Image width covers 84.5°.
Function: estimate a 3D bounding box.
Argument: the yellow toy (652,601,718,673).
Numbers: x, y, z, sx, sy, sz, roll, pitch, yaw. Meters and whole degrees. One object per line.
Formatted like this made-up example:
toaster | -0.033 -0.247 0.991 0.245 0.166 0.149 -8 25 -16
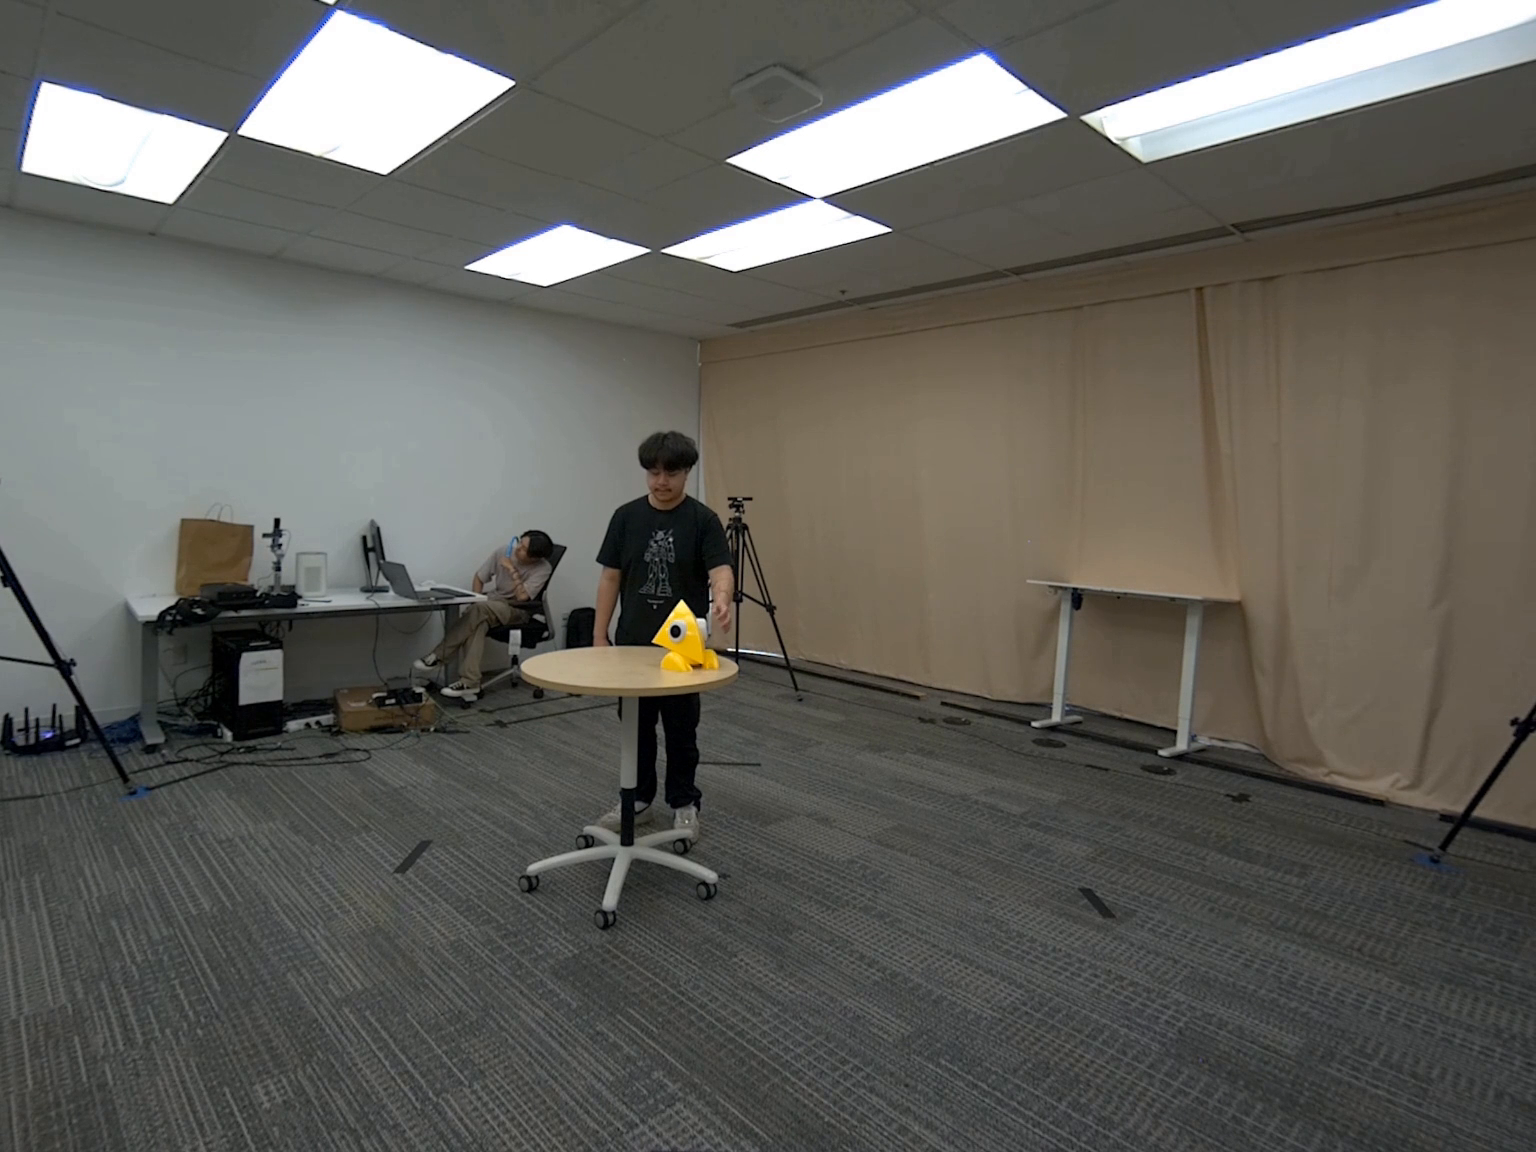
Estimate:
yellow toy | -0.295 0.209 3.003 0.200 0.230 0.198 0 5 -35
